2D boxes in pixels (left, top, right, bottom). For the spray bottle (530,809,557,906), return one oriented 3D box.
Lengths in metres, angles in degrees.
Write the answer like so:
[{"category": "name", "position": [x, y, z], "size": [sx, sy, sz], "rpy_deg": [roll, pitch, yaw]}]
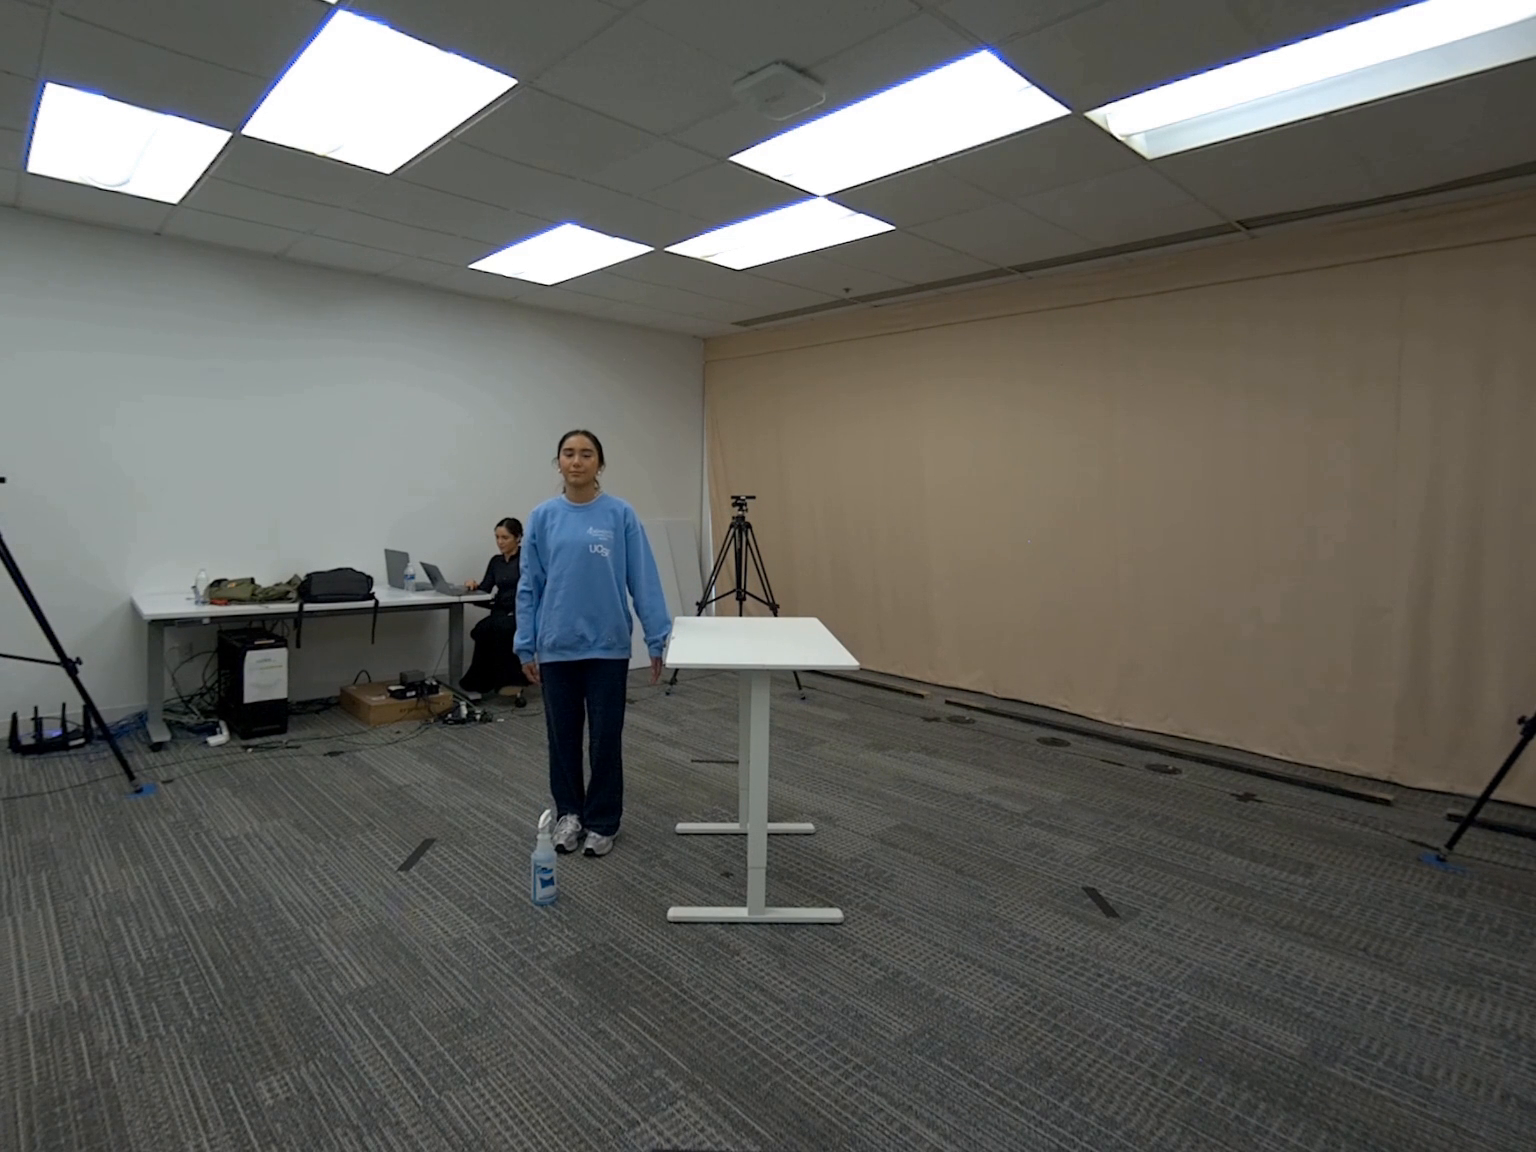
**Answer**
[{"category": "spray bottle", "position": [-0.777, 0.971, 2.873], "size": [0.089, 0.296, 0.088], "rpy_deg": [5, 4, 28]}]
